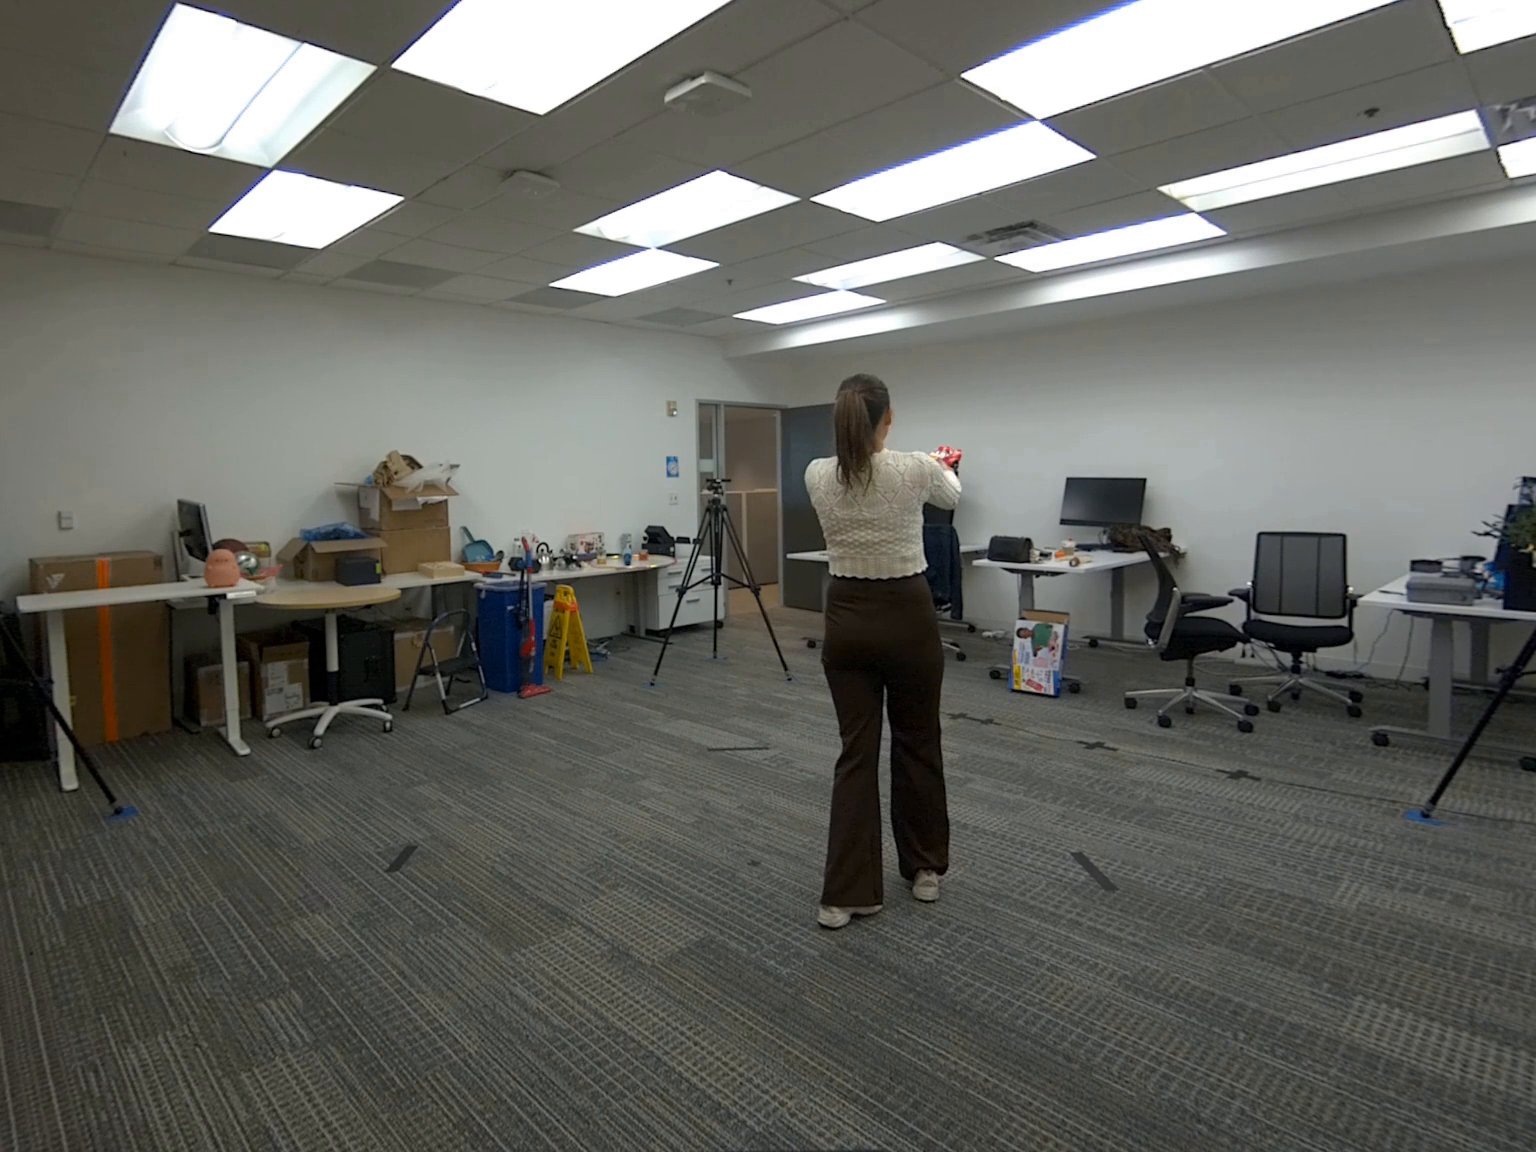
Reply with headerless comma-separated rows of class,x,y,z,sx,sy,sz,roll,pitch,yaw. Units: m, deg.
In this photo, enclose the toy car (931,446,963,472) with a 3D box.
toy car,0.631,-0.414,3.226,0.254,0.080,0.135,-43,44,-22
